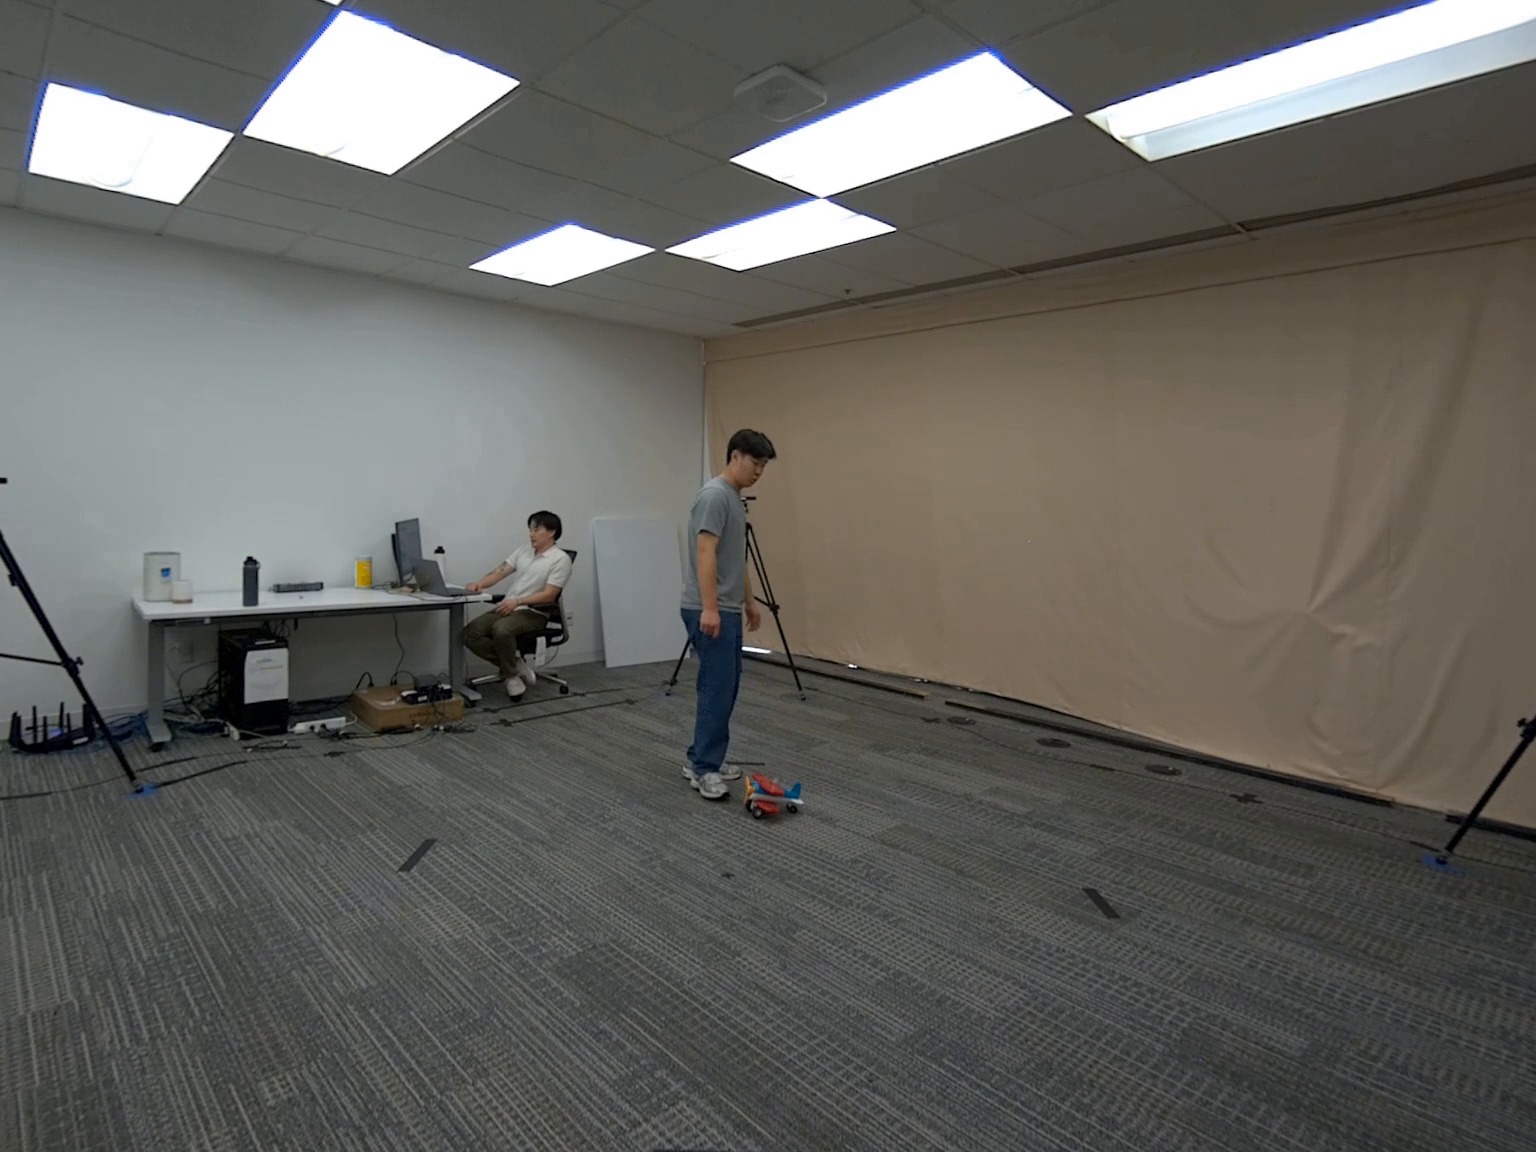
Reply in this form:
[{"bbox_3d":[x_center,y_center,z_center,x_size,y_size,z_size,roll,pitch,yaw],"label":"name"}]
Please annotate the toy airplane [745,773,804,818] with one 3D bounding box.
[{"bbox_3d":[0.005,0.982,3.758,0.257,0.156,0.253,6,7,43],"label":"toy airplane"}]
